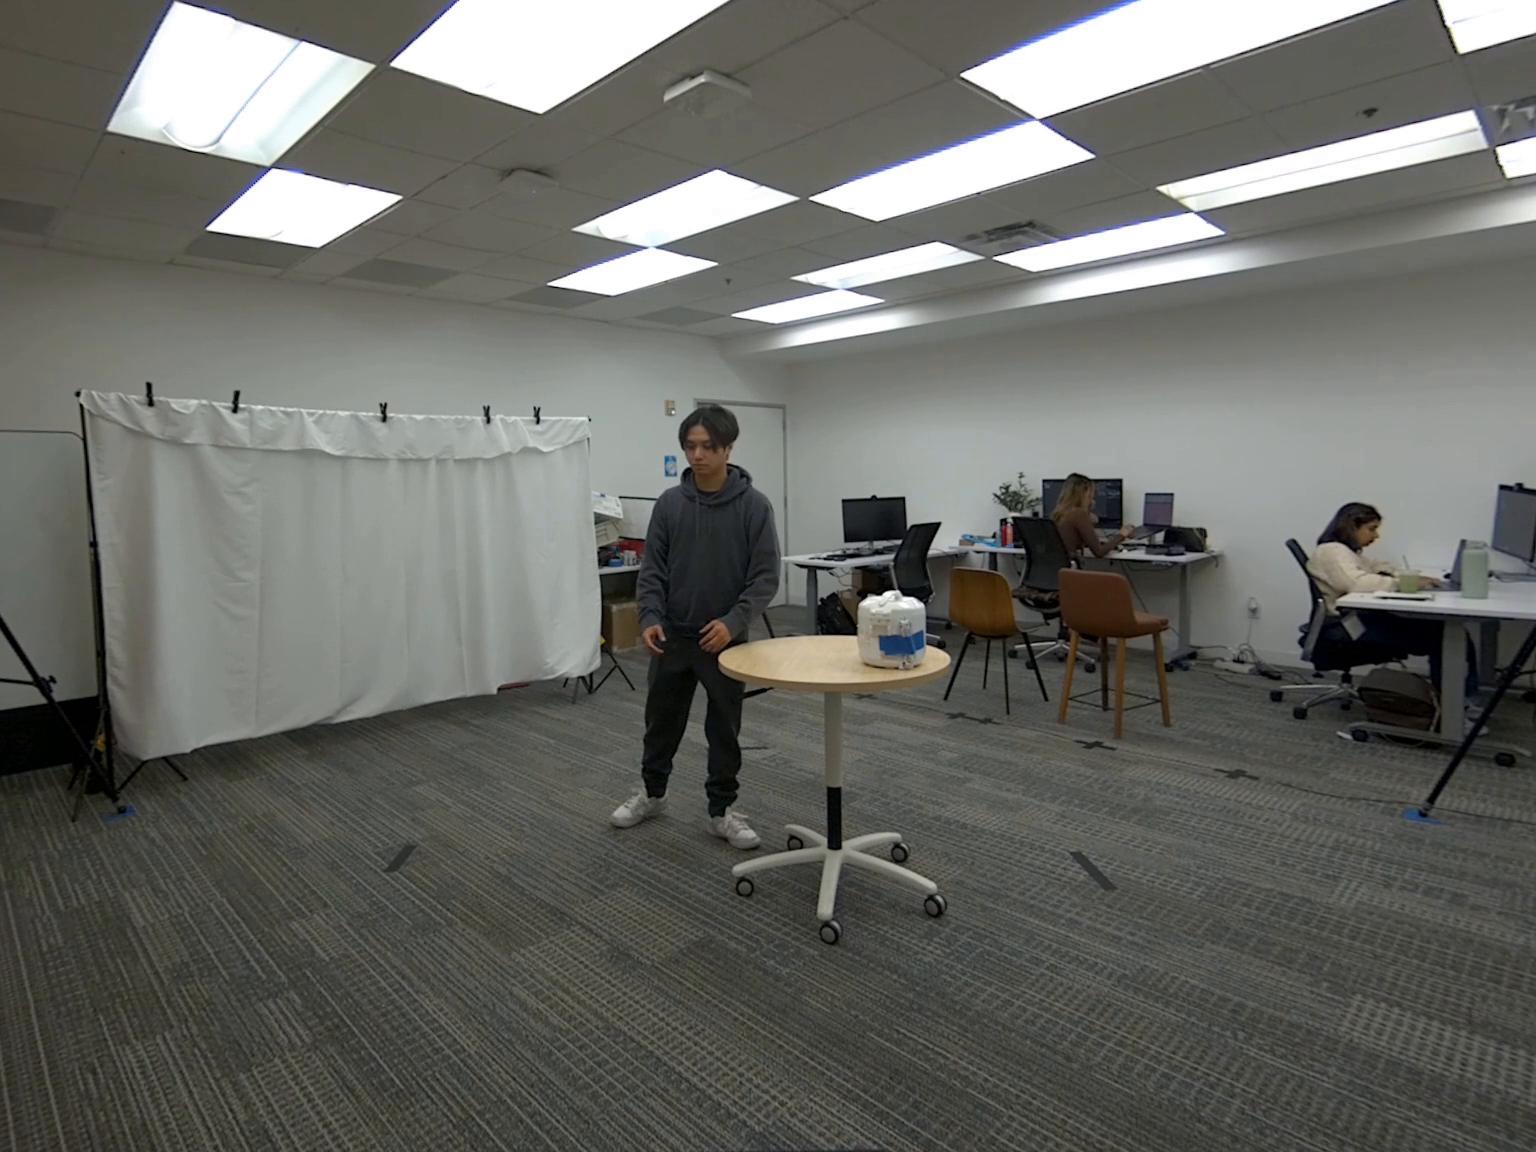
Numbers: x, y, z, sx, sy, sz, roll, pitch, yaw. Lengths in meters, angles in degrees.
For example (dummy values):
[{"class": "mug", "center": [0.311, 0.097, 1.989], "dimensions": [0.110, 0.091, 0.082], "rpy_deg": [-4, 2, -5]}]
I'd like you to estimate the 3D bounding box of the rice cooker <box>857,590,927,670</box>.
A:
[{"class": "rice cooker", "center": [0.396, 0.163, 2.714], "dimensions": [0.223, 0.232, 0.216], "rpy_deg": [2, 5, 30]}]
